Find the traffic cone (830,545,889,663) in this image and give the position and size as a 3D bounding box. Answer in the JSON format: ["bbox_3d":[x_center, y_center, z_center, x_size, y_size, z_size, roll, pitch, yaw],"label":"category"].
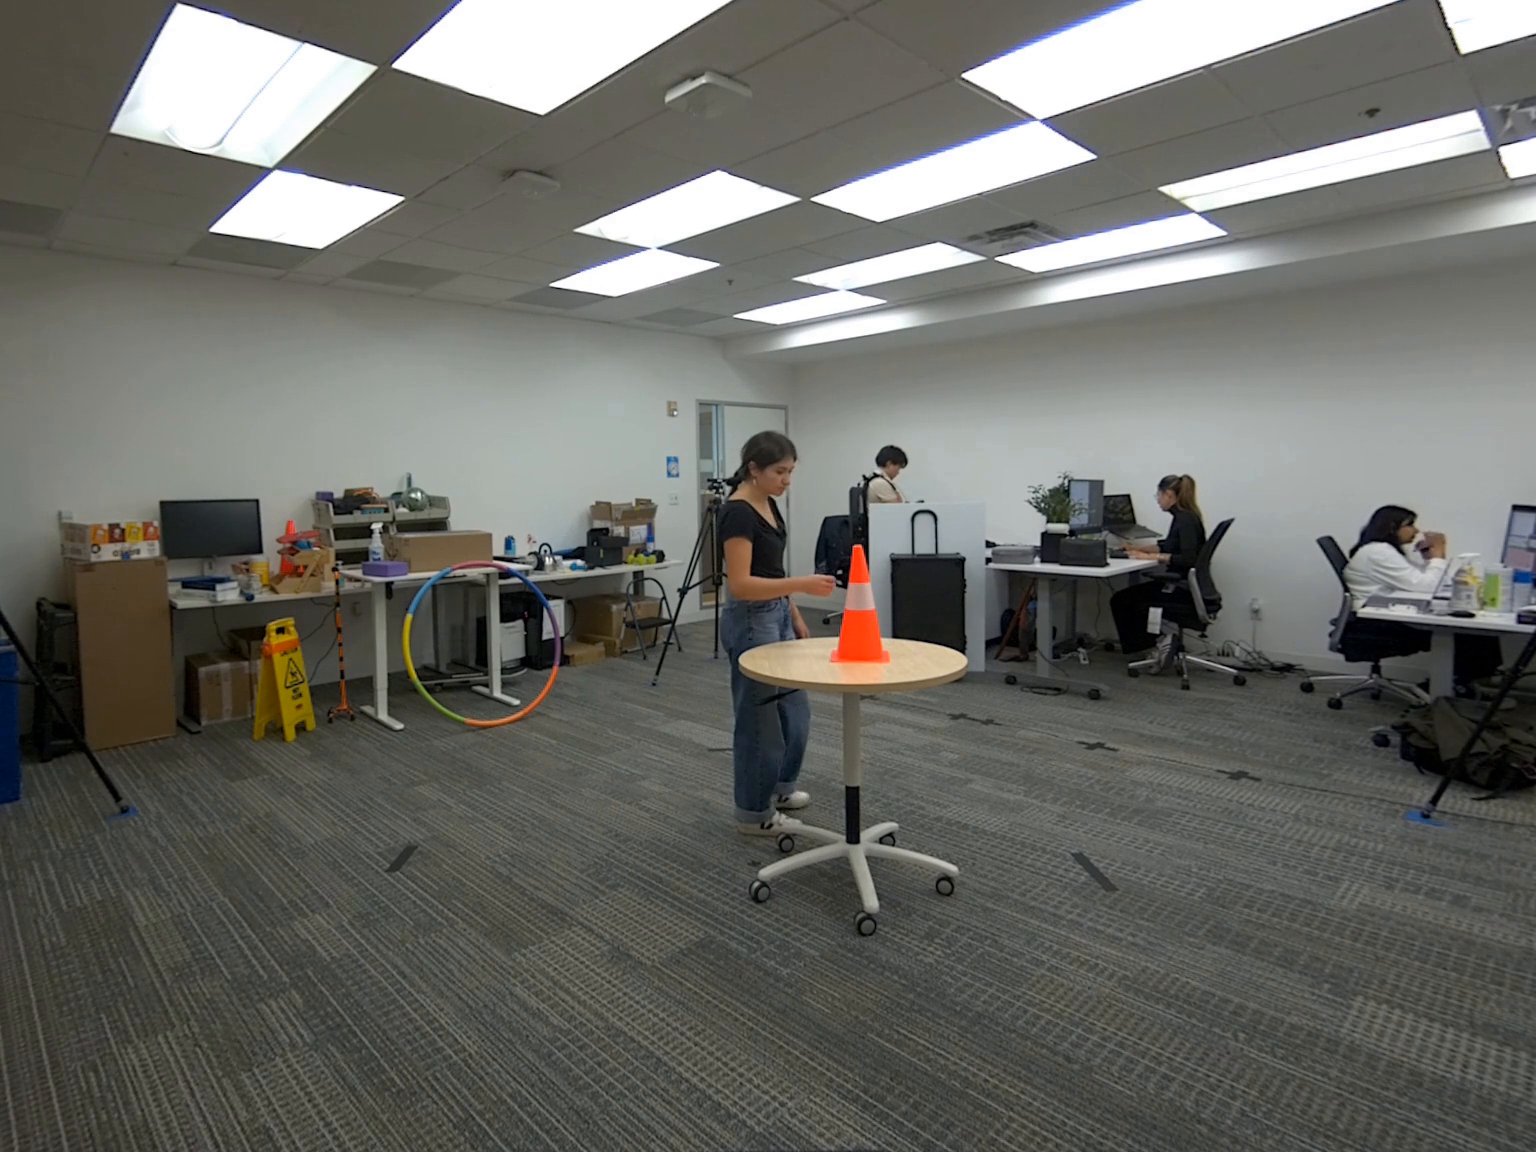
[{"bbox_3d":[0.312,0.091,2.916,0.205,0.382,0.204,-1,4,7],"label":"traffic cone"}]
